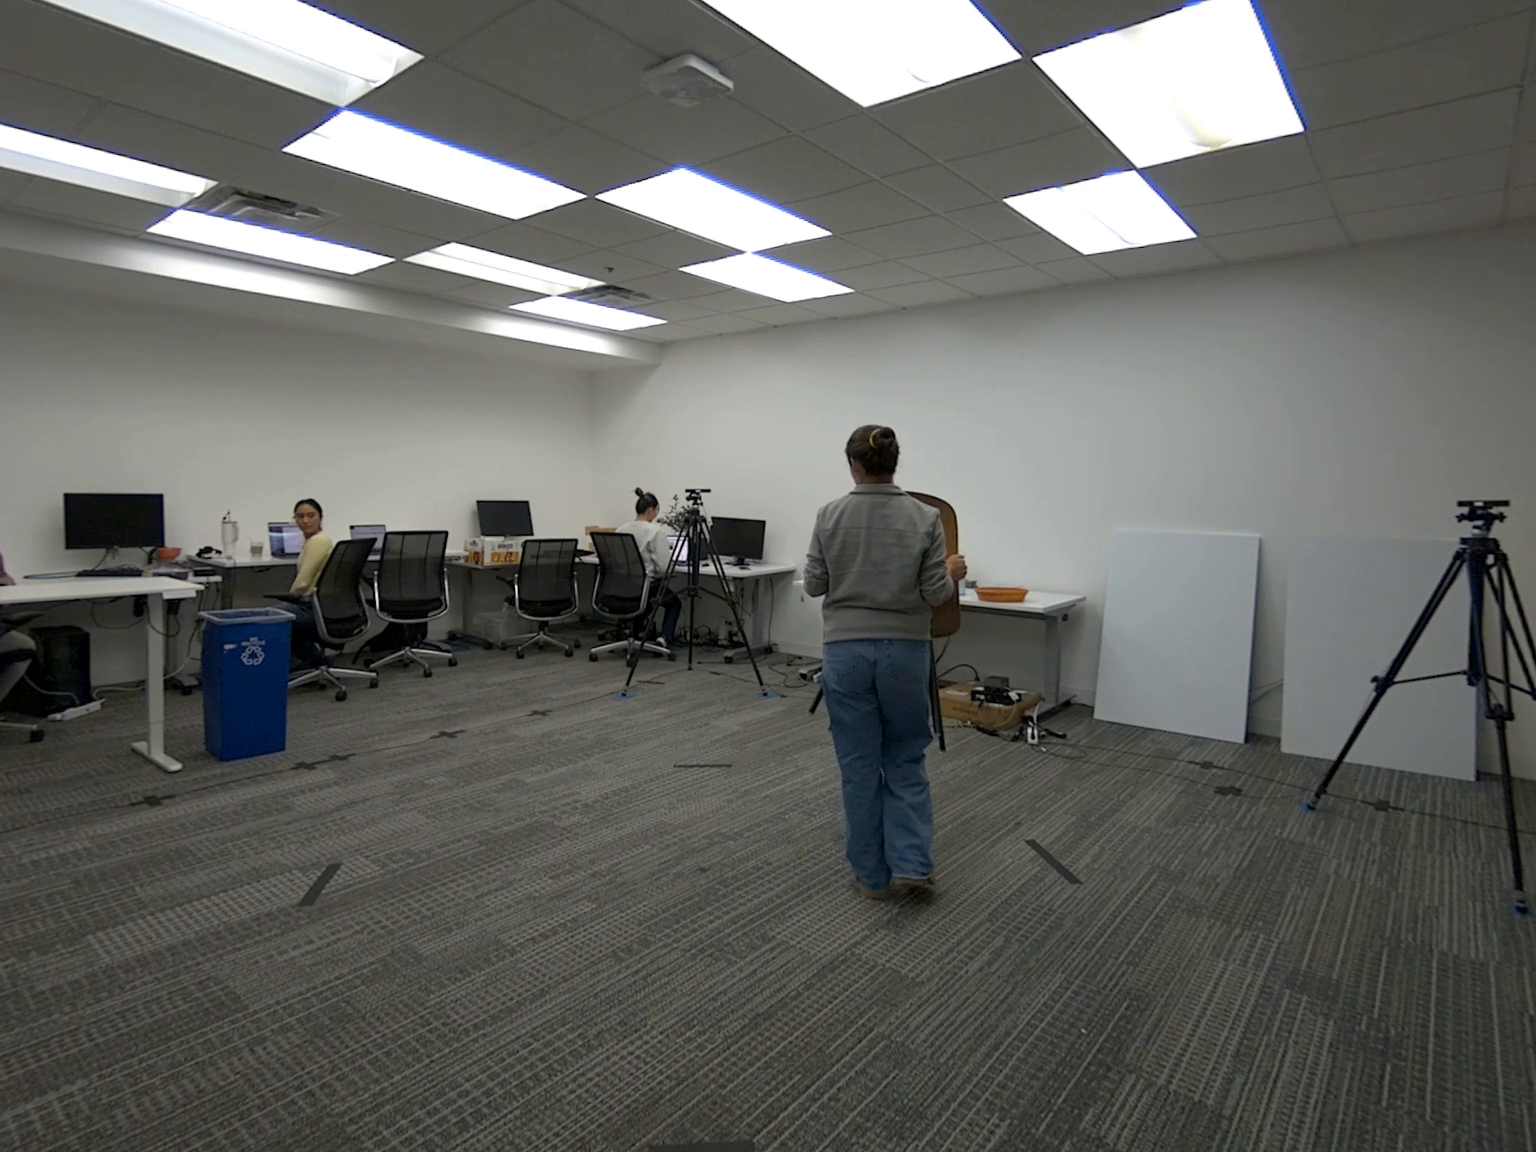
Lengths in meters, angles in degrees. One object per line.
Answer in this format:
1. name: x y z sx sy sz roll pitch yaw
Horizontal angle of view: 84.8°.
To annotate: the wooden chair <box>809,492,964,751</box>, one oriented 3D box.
1. wooden chair: 0.467 0.173 3.236 0.489 0.886 0.507 5 -13 19
